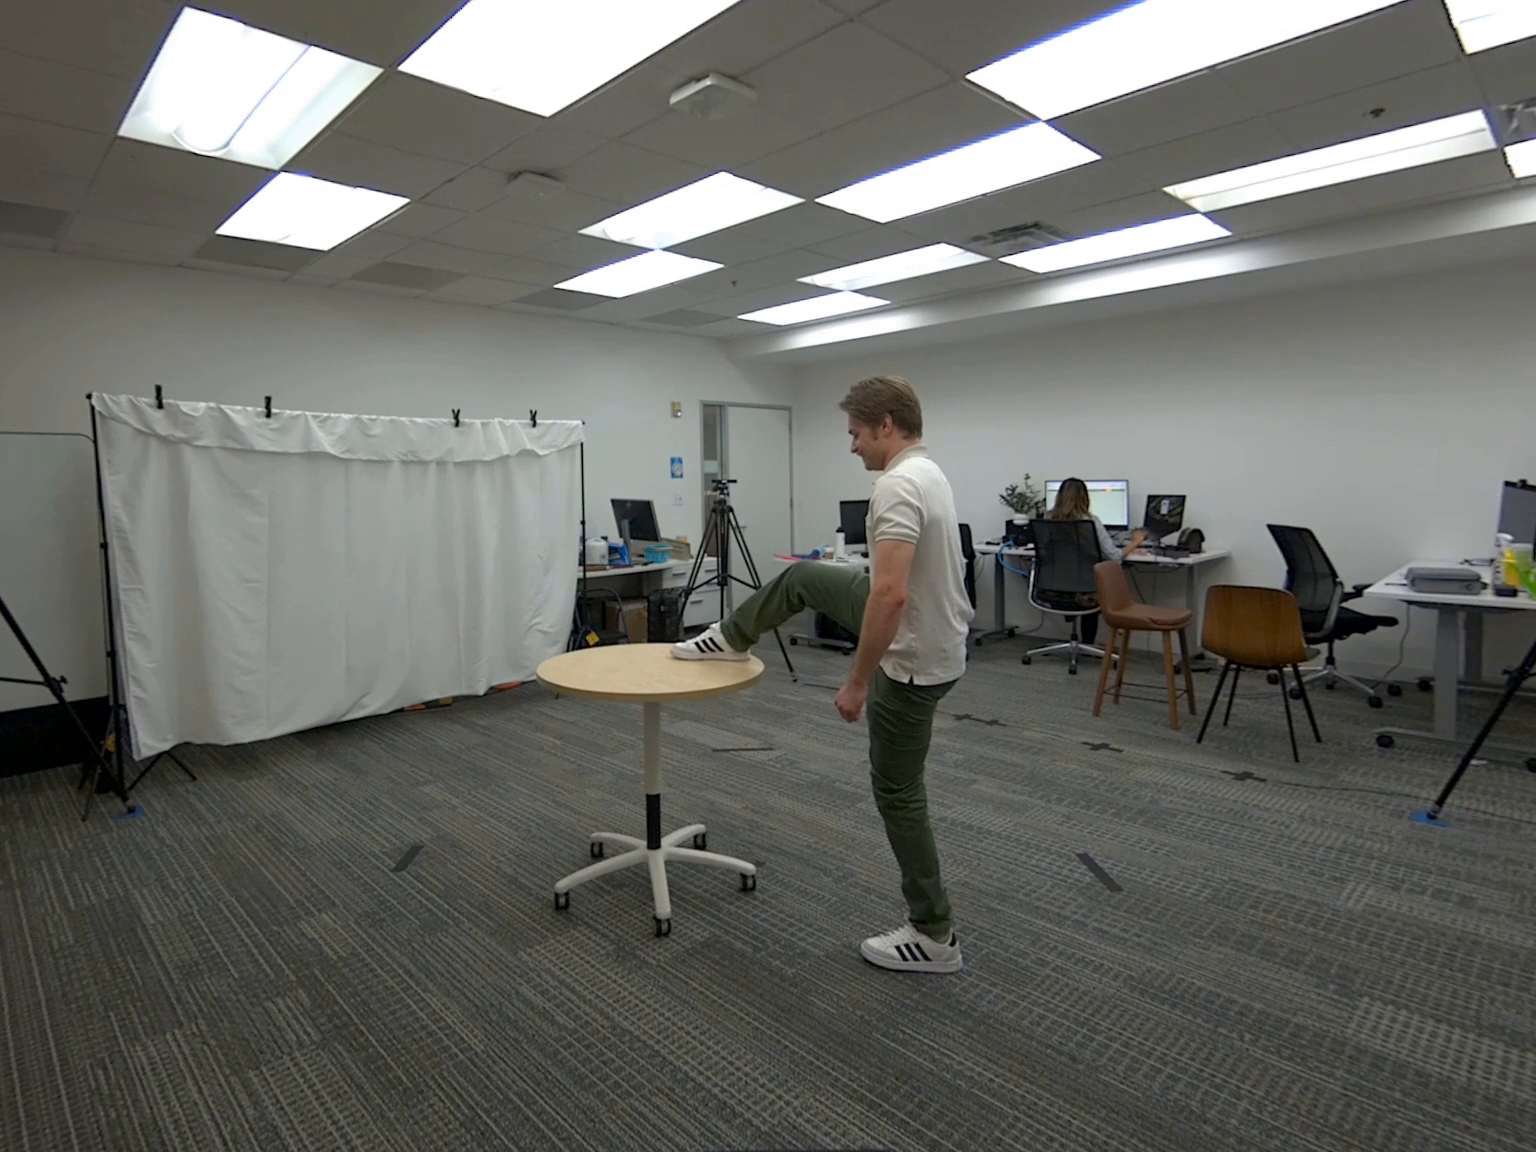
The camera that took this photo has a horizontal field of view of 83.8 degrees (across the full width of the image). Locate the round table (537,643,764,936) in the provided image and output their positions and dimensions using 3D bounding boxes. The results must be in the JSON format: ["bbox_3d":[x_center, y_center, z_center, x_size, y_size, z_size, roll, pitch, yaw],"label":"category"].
[{"bbox_3d":[-0.395,0.692,2.932,0.763,0.791,0.768,-1,5,-2],"label":"round table"}]
